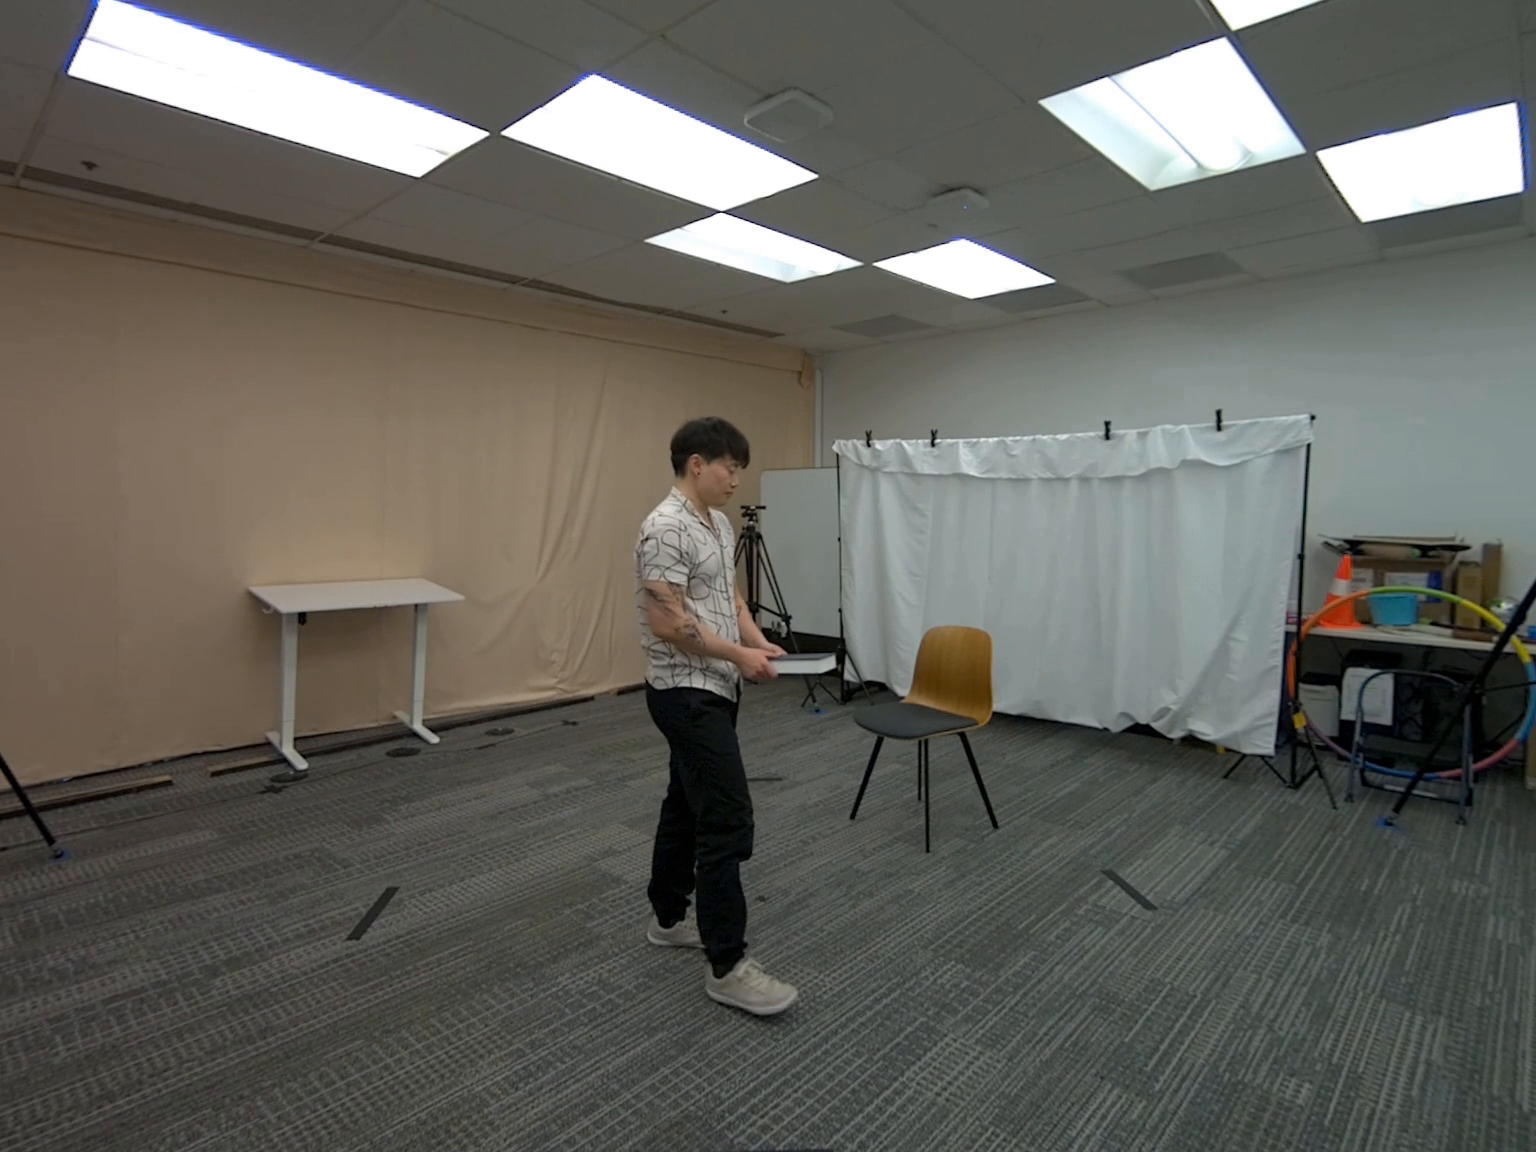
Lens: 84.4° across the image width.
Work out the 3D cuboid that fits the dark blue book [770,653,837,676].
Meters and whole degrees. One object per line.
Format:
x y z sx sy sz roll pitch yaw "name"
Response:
0.078 0.263 2.488 0.250 0.045 0.160 -3 0 19 "dark blue book"
